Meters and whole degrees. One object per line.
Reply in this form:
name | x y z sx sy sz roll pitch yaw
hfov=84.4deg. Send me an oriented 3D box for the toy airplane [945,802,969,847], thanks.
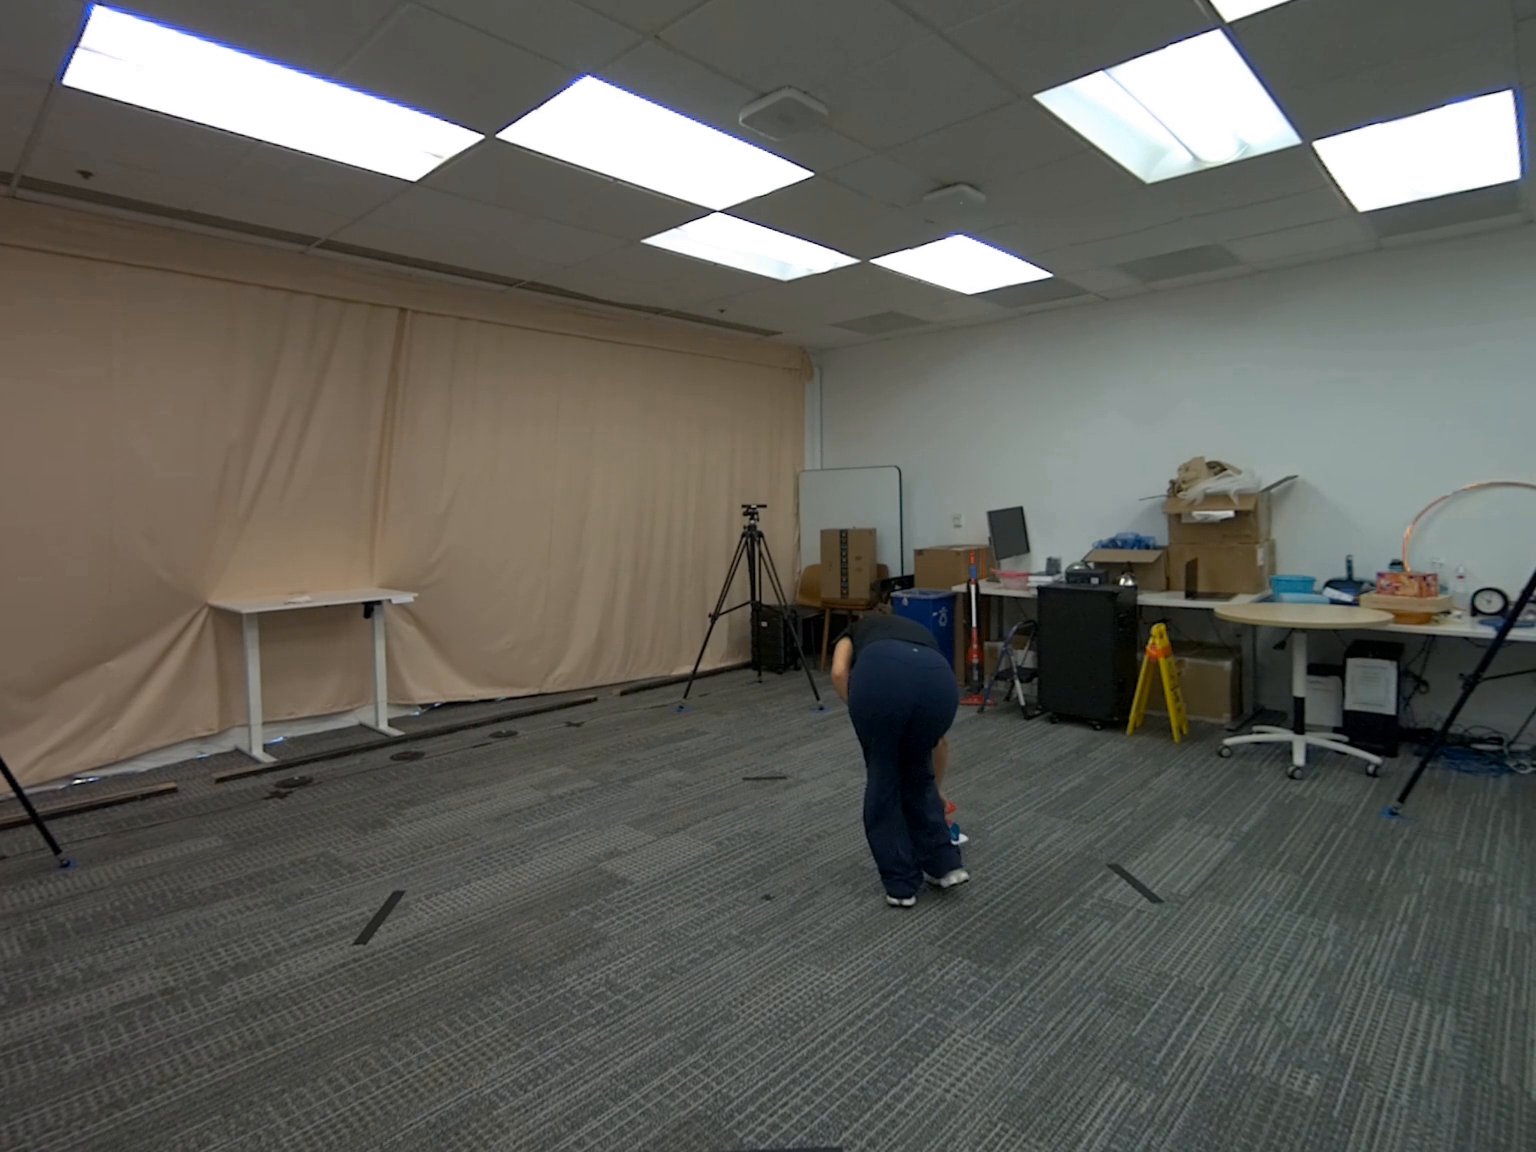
toy airplane | 0.707 1.016 3.424 0.267 0.156 0.244 2 5 32
